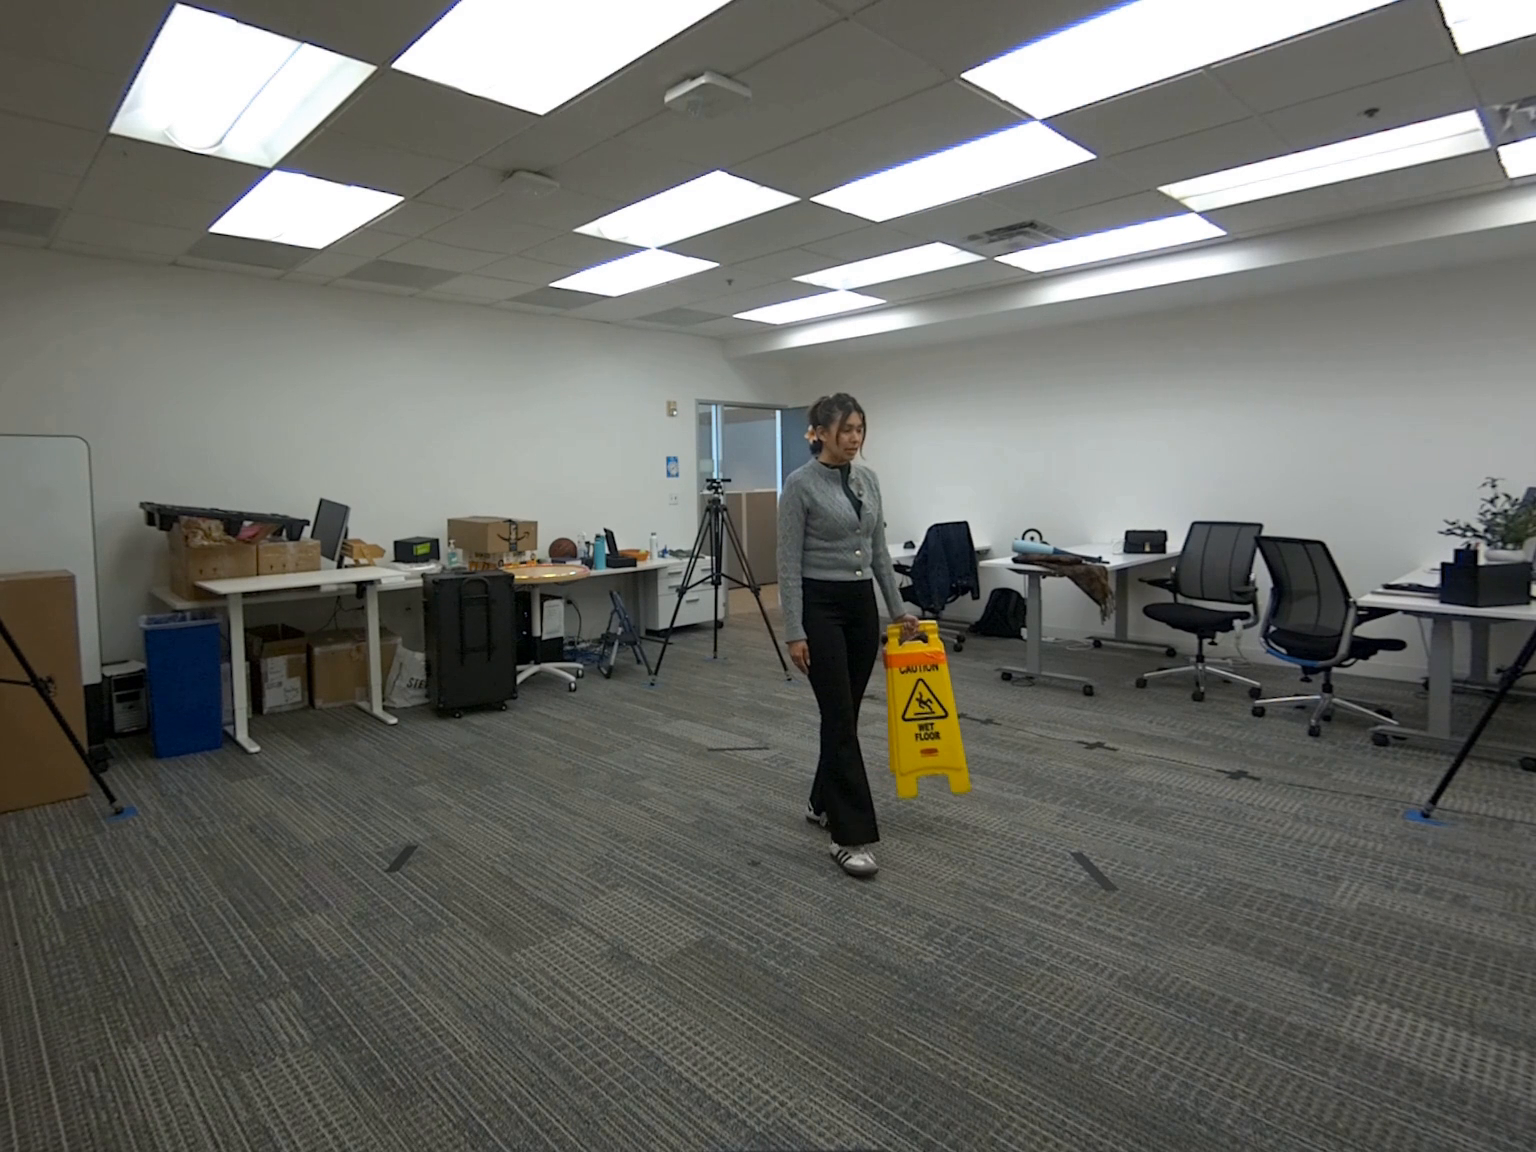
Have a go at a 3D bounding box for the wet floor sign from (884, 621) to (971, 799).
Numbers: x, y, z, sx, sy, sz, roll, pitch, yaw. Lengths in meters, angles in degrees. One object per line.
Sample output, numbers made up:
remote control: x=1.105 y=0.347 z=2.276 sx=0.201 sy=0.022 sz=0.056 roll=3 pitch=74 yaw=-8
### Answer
wet floor sign: x=0.610 y=0.507 z=3.403 sx=0.283 sy=0.643 sz=0.290 roll=-6 pitch=4 yaw=3
